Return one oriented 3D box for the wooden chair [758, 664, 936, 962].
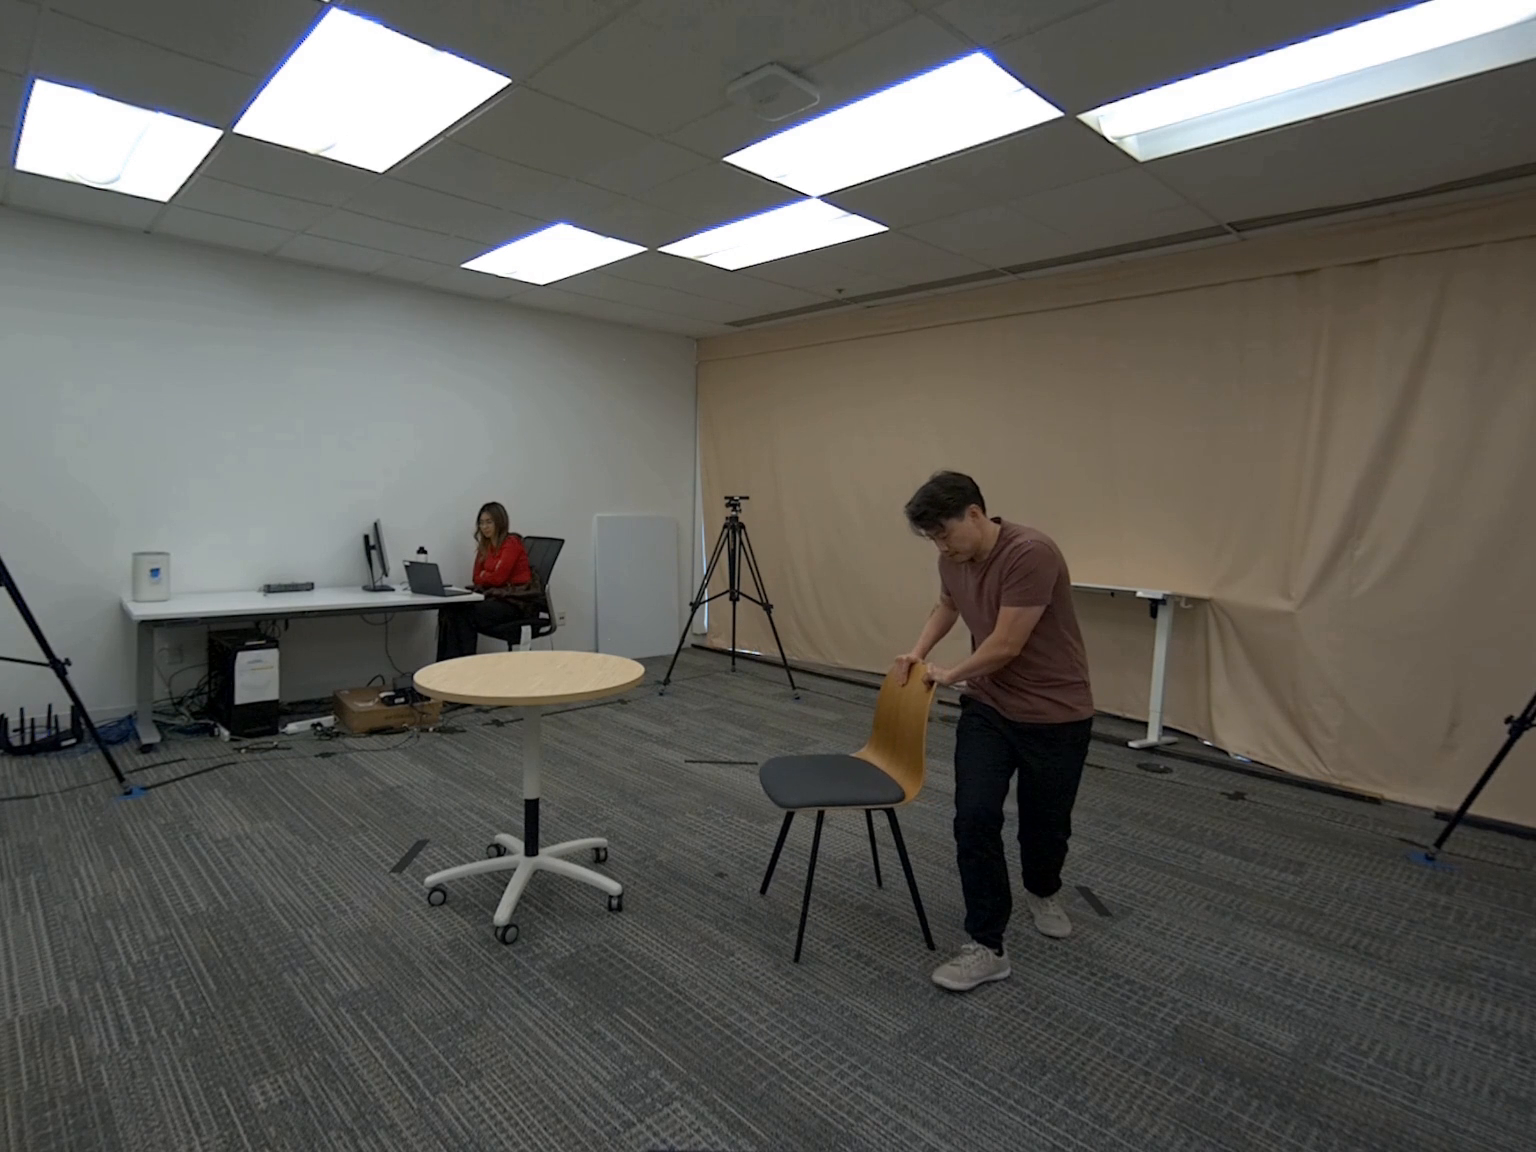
[{"bbox_3d":[0.246,0.720,2.760,0.517,0.875,0.484,5,4,-14],"label":"wooden chair"}]
